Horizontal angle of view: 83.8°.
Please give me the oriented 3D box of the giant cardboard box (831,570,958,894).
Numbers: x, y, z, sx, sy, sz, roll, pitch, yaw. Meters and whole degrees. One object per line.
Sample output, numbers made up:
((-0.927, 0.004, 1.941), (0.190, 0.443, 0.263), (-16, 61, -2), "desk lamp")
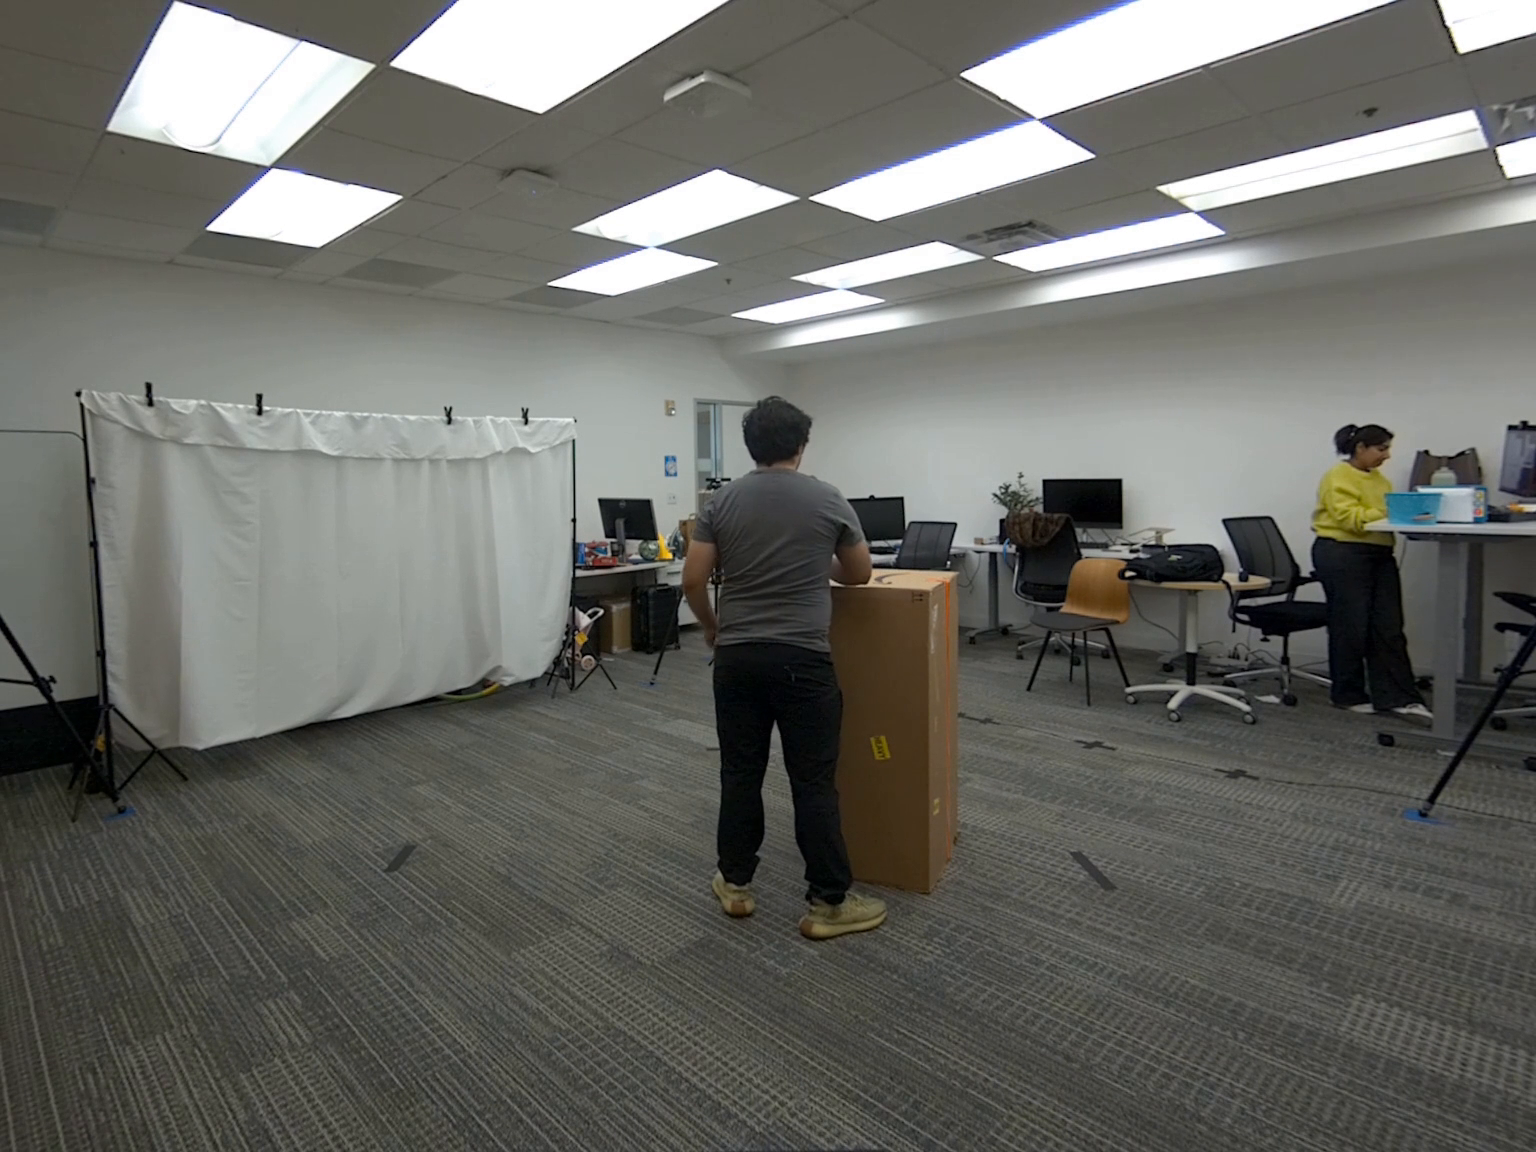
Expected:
((0.454, 0.517, 3.167), (0.436, 1.022, 0.566), (1, 4, 24), "giant cardboard box")
